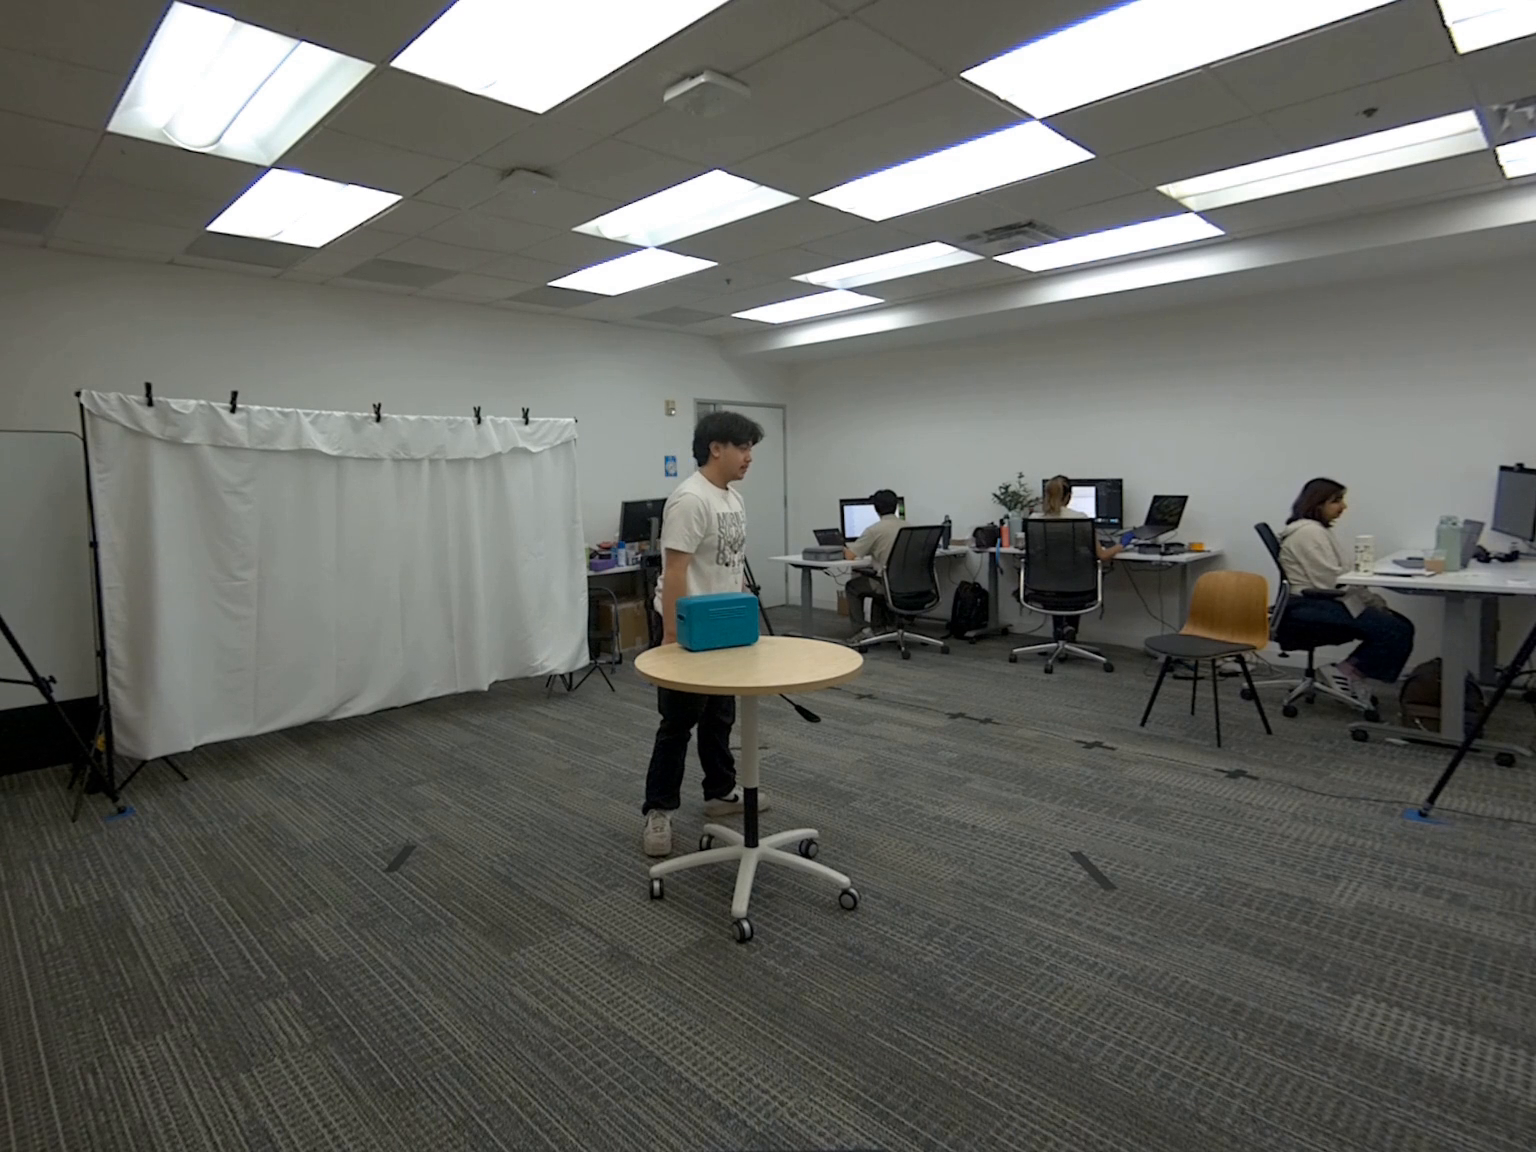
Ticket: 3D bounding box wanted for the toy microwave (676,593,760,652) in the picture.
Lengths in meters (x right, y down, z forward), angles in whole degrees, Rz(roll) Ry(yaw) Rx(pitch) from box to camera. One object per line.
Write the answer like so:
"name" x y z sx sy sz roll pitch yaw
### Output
"toy microwave" -0.191 0.162 3.093 0.280 0.183 0.156 -4 6 -27
